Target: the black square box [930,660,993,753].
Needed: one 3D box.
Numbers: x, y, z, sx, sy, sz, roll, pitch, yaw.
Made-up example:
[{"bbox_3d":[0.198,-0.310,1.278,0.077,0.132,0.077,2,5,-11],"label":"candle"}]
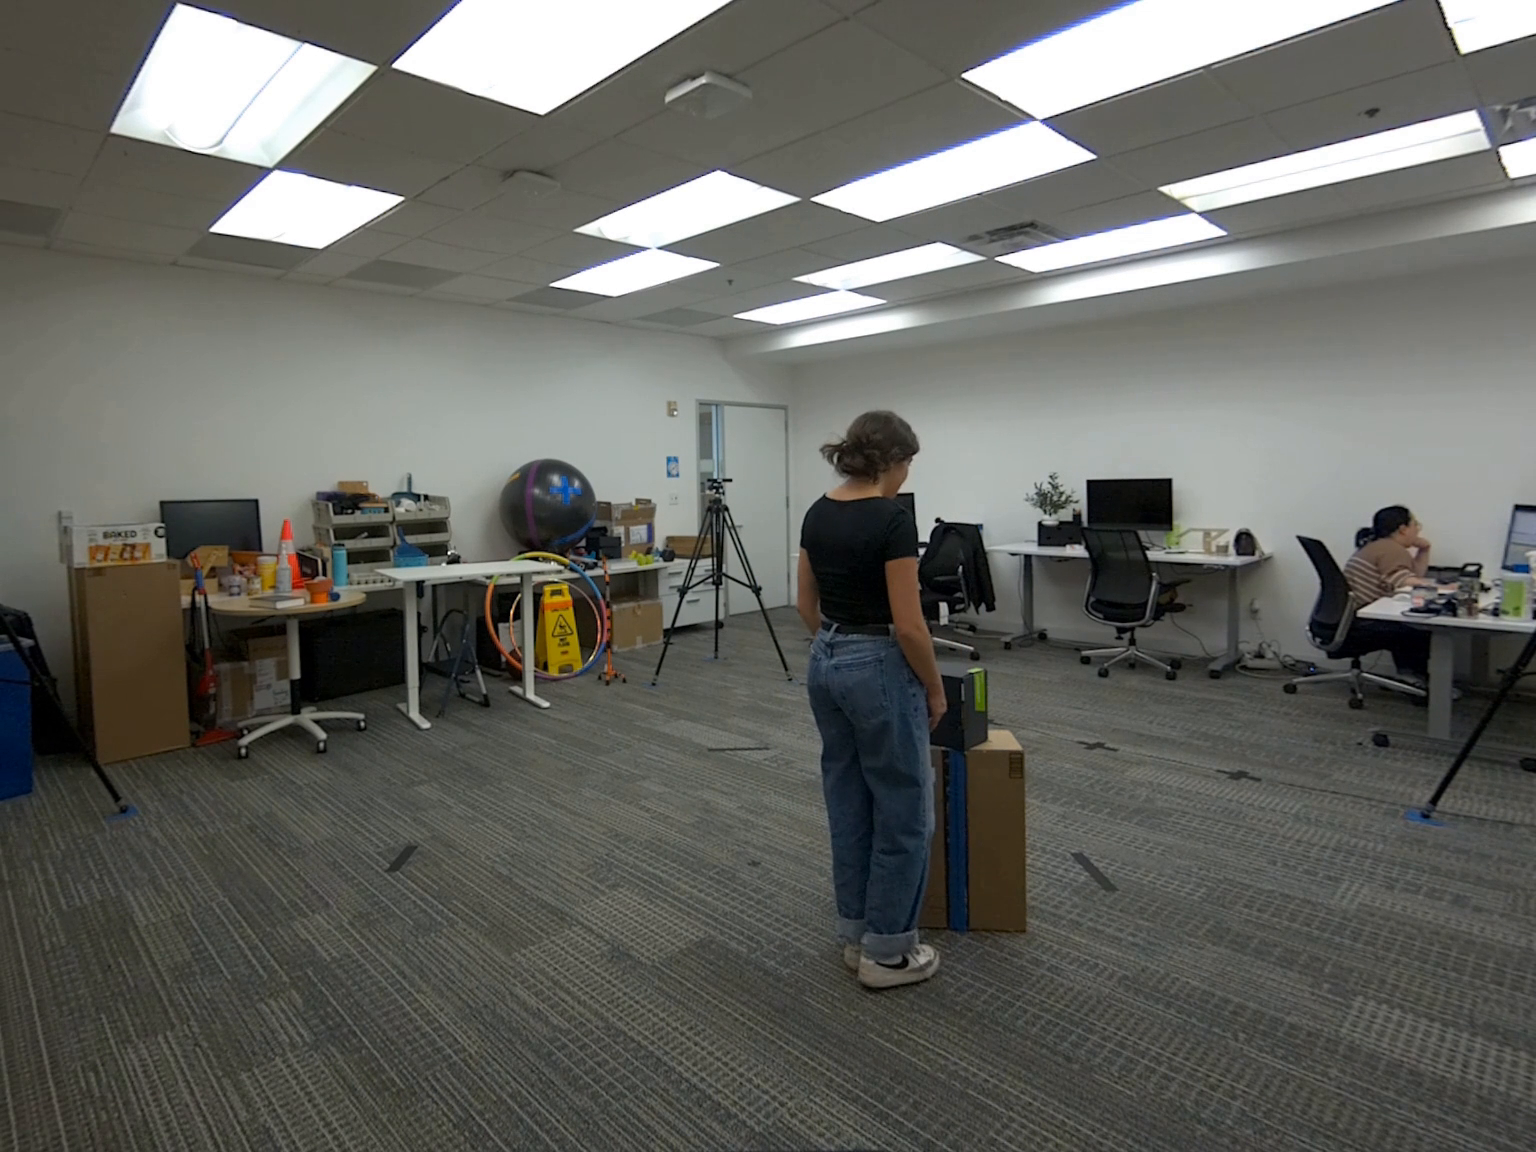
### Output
[{"bbox_3d":[0.563,0.398,2.683,0.223,0.227,0.152,3,5,43],"label":"black square box"}]
